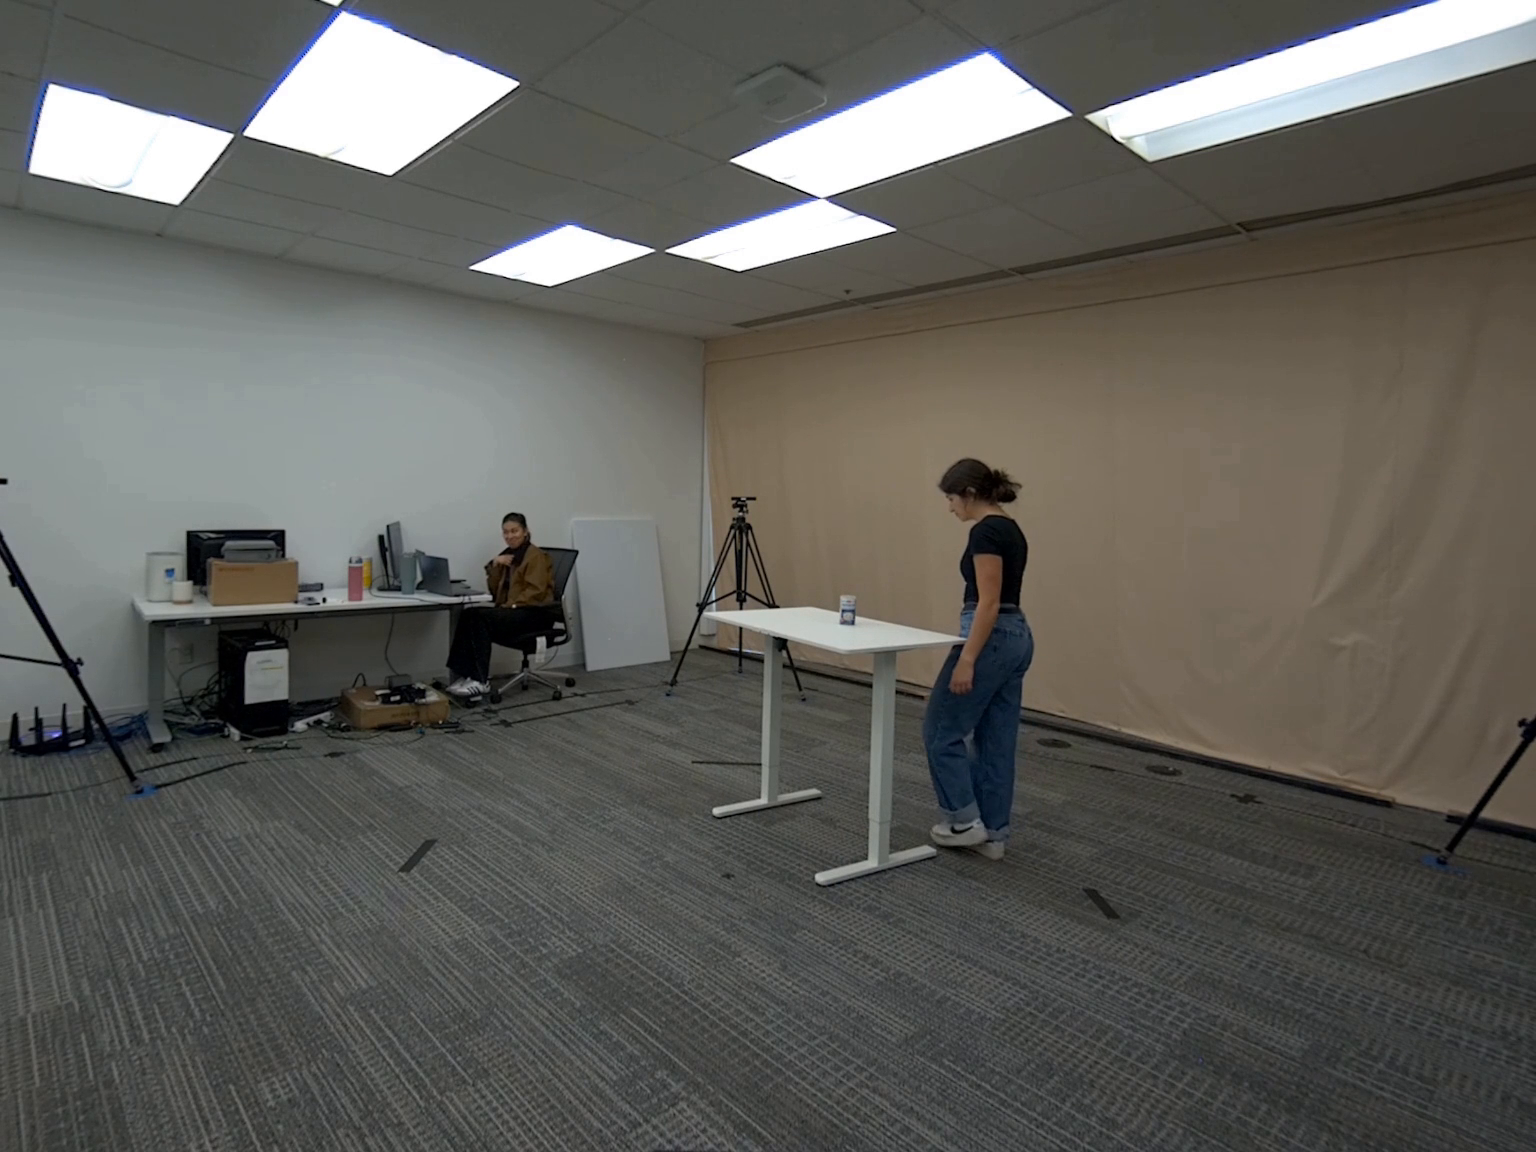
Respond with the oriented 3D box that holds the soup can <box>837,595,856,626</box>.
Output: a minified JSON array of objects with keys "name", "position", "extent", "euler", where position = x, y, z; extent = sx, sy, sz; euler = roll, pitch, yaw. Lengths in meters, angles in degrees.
[{"name":"soup can","position":[0.328,0.140,3.508],"extent":[0.067,0.121,0.067],"euler":[-1,4,-1]}]
